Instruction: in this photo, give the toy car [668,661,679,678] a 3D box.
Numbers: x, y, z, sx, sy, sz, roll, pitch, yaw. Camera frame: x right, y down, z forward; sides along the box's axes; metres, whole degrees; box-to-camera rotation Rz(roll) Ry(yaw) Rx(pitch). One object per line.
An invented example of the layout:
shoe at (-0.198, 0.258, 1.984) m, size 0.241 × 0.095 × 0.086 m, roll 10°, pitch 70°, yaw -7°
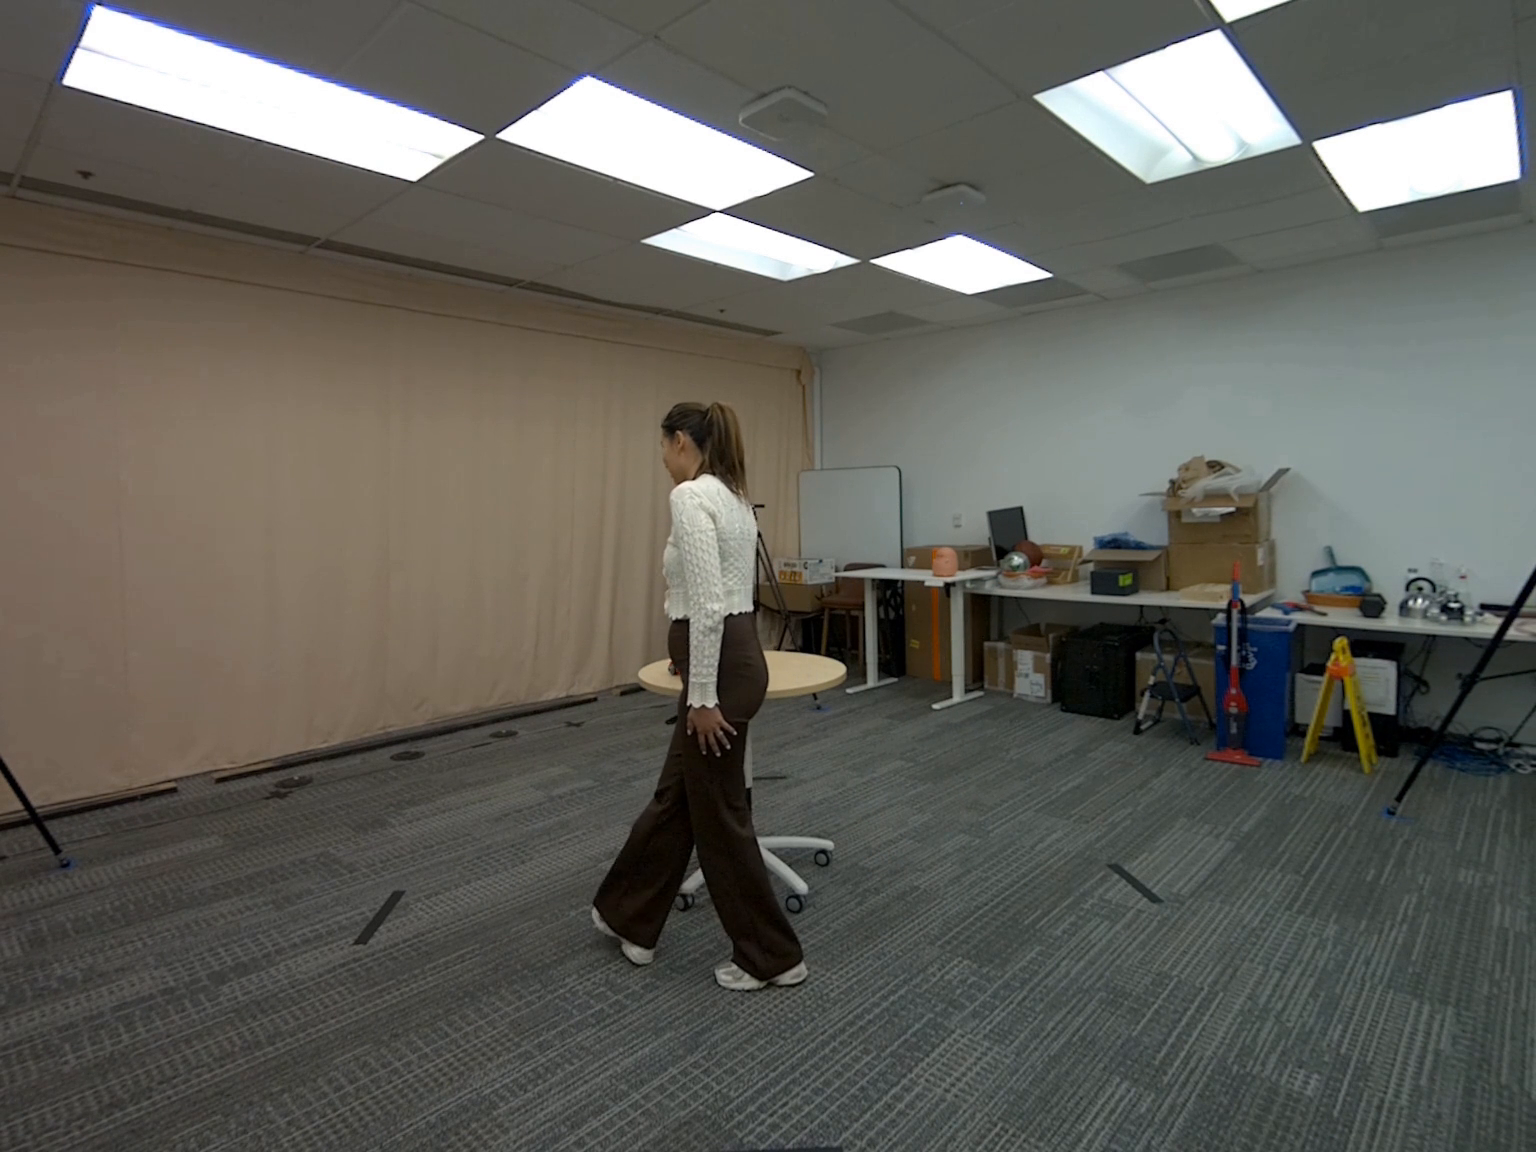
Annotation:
toy car at (-0.248, 0.331, 2.987) m, size 0.127 × 0.083 × 0.260 m, roll -5°, pitch -6°, yaw -31°
